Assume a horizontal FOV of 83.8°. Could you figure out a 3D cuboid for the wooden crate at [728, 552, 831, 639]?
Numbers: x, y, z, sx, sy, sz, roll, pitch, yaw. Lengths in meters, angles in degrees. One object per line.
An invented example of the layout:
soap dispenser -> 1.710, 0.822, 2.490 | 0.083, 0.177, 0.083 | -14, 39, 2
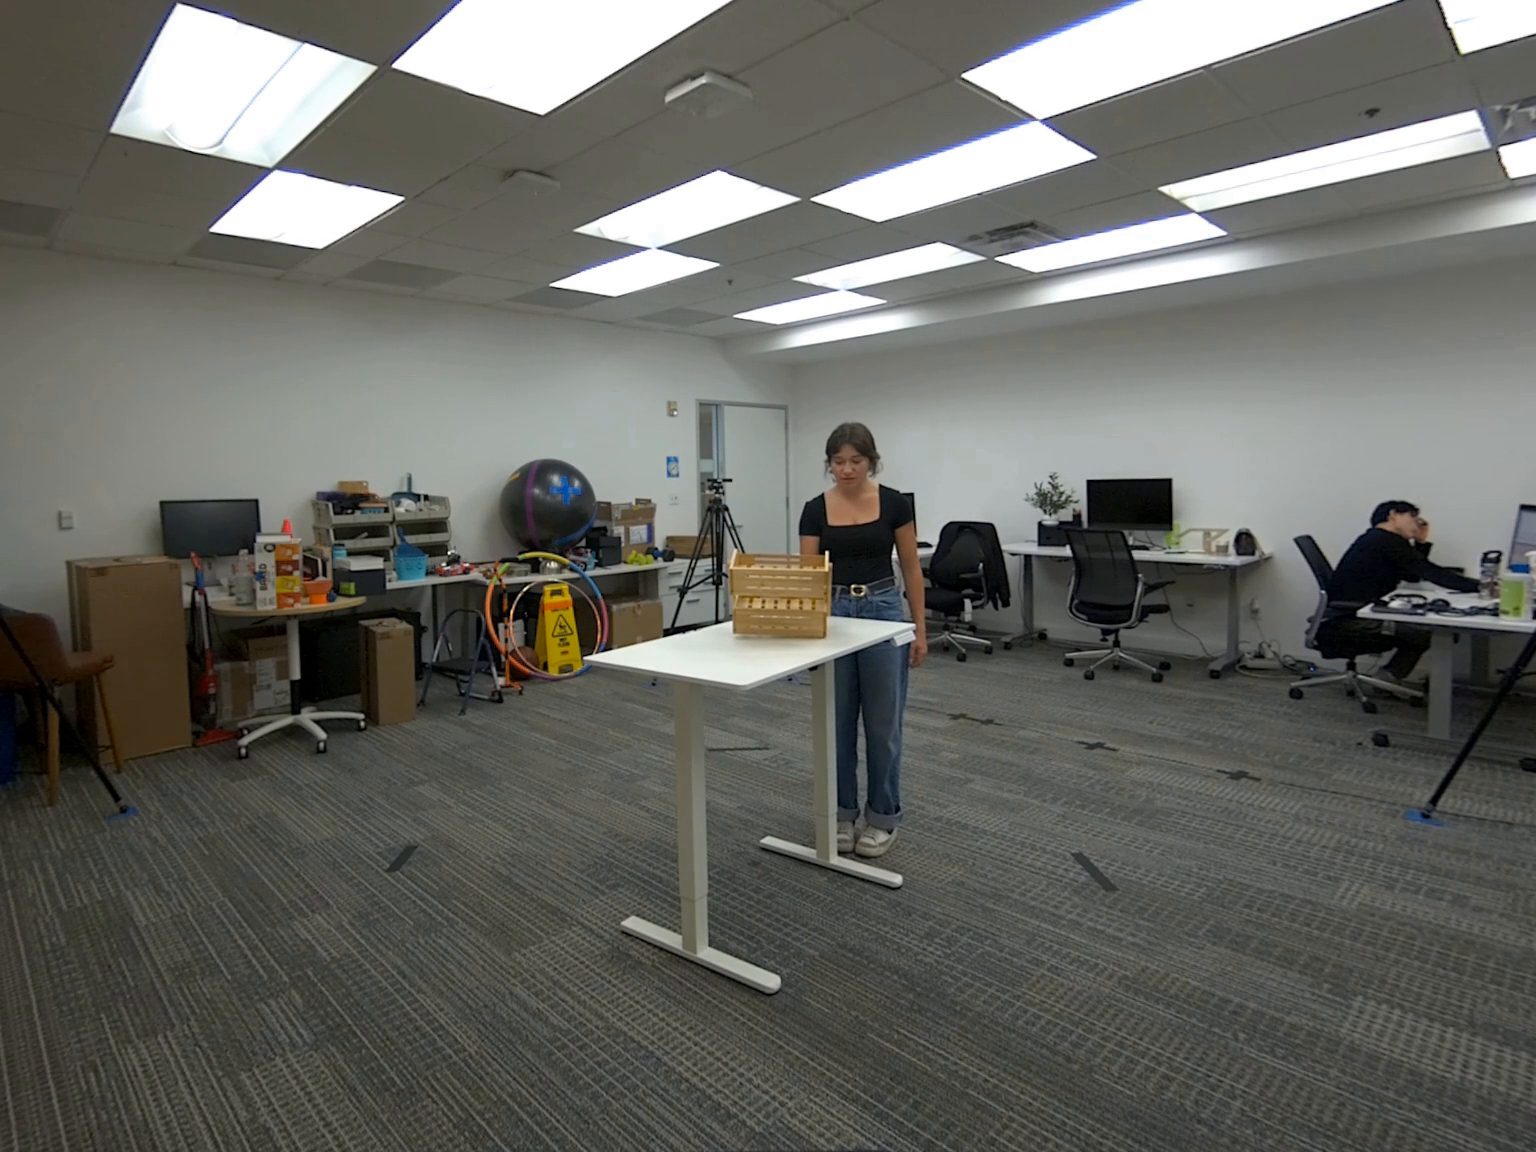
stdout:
wooden crate -> 0.047, 0.036, 2.774 | 0.327, 0.268, 0.306 | 2, 25, 7
